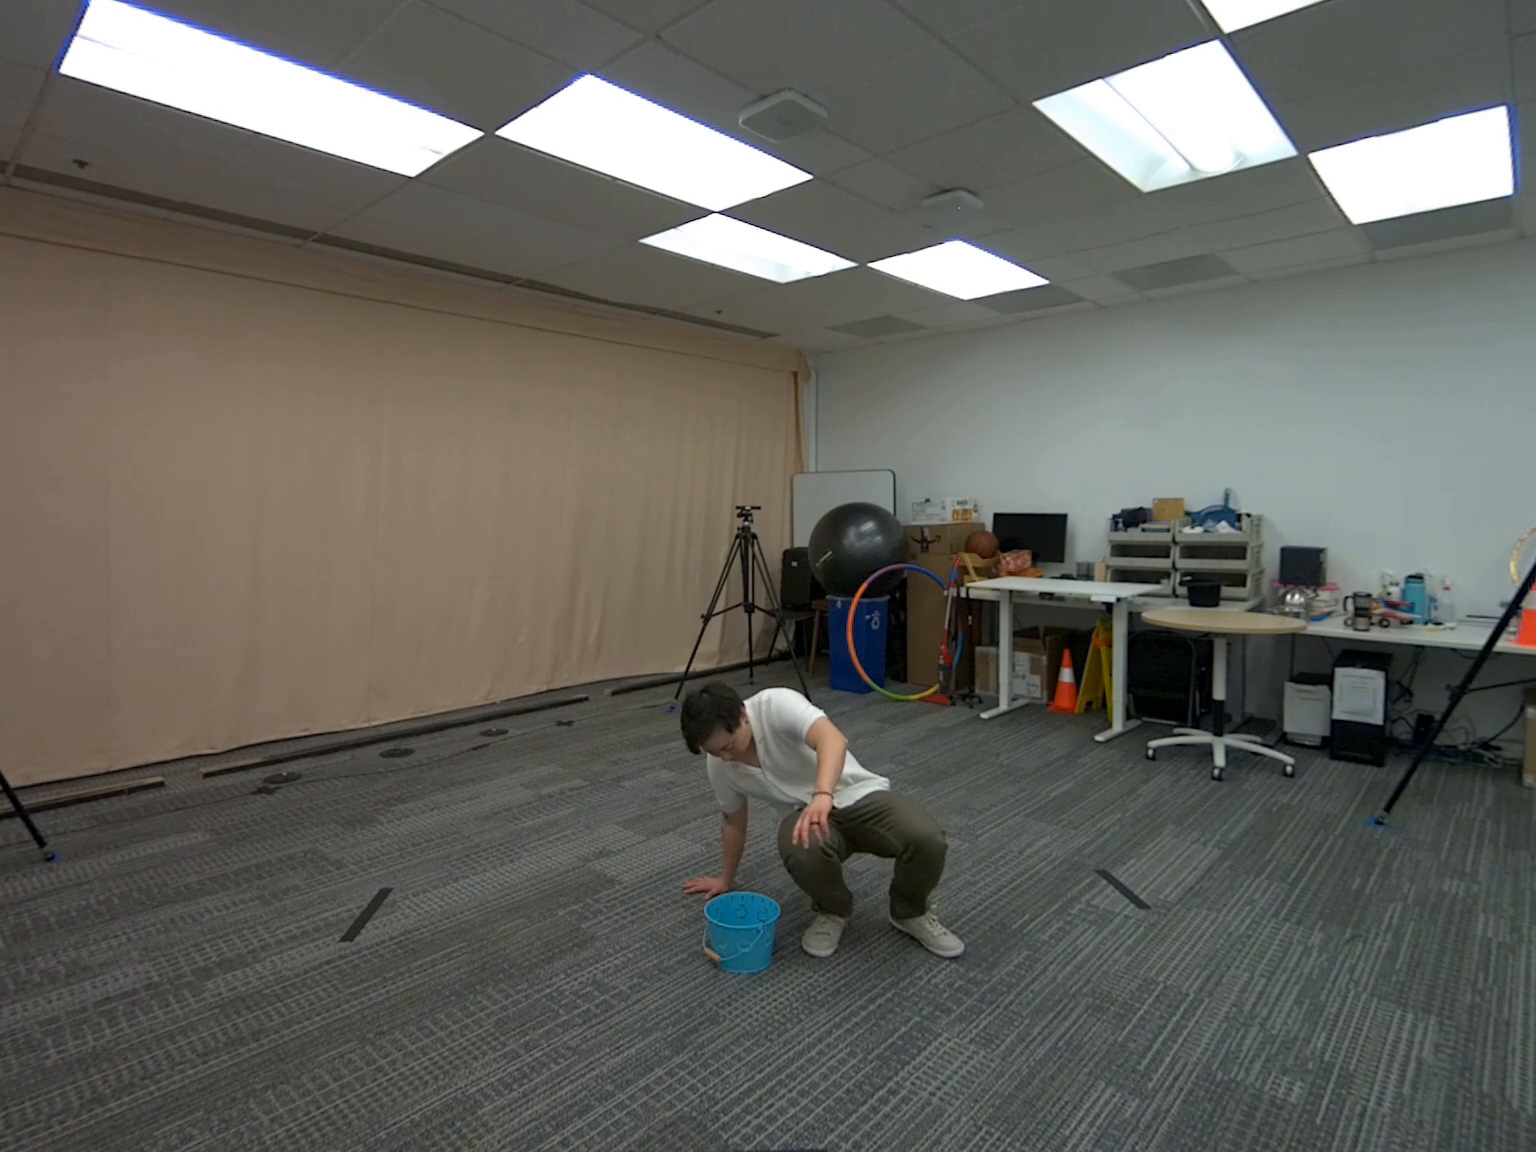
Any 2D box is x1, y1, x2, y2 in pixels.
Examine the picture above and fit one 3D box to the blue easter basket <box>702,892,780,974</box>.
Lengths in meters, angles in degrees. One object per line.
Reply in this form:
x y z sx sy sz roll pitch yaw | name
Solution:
-0.082 1.103 2.598 0.243 0.155 0.244 0 4 -2 | blue easter basket
